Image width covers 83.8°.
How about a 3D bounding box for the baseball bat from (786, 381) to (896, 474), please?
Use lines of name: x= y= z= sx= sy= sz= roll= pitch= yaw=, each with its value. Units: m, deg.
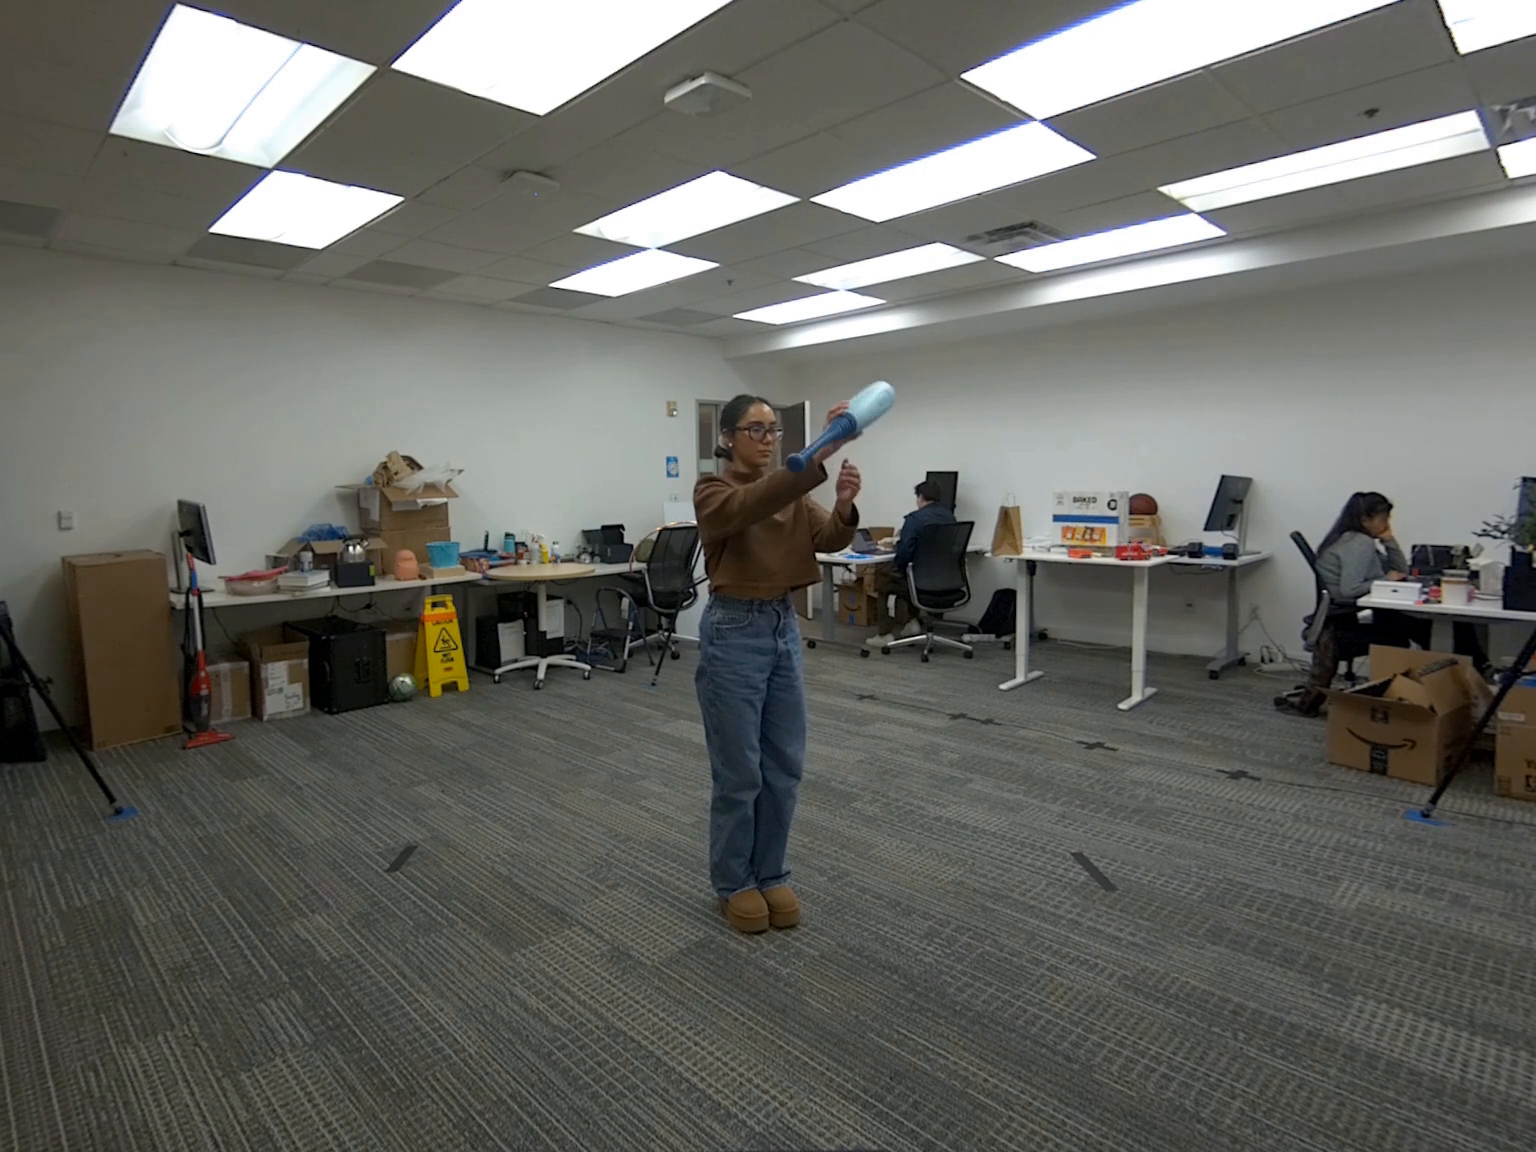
baseball bat: x=0.205 y=-0.383 z=2.255 sx=0.091 sy=0.087 sz=0.541 roll=2 pitch=28 yaw=31
